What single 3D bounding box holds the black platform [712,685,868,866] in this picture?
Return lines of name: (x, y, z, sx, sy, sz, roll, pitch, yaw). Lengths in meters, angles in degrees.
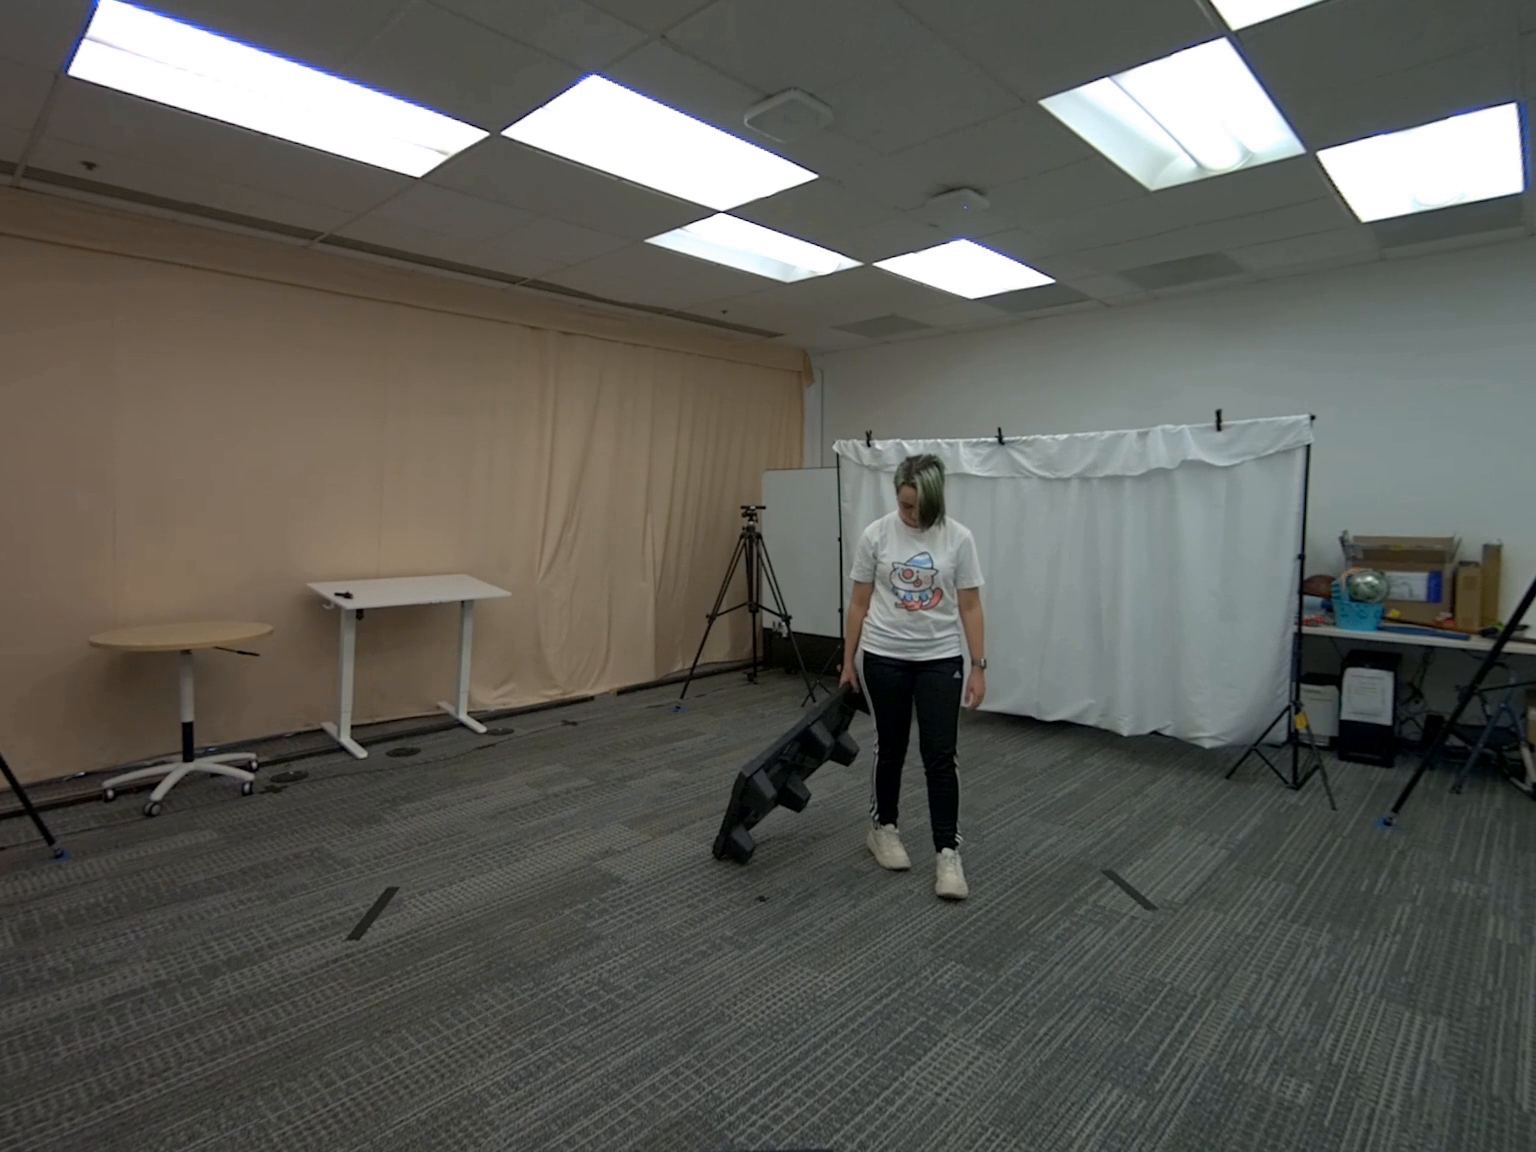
black platform: (0.140, 0.764, 3.347, 0.147, 0.598, 0.792, 37, 47, 23)
